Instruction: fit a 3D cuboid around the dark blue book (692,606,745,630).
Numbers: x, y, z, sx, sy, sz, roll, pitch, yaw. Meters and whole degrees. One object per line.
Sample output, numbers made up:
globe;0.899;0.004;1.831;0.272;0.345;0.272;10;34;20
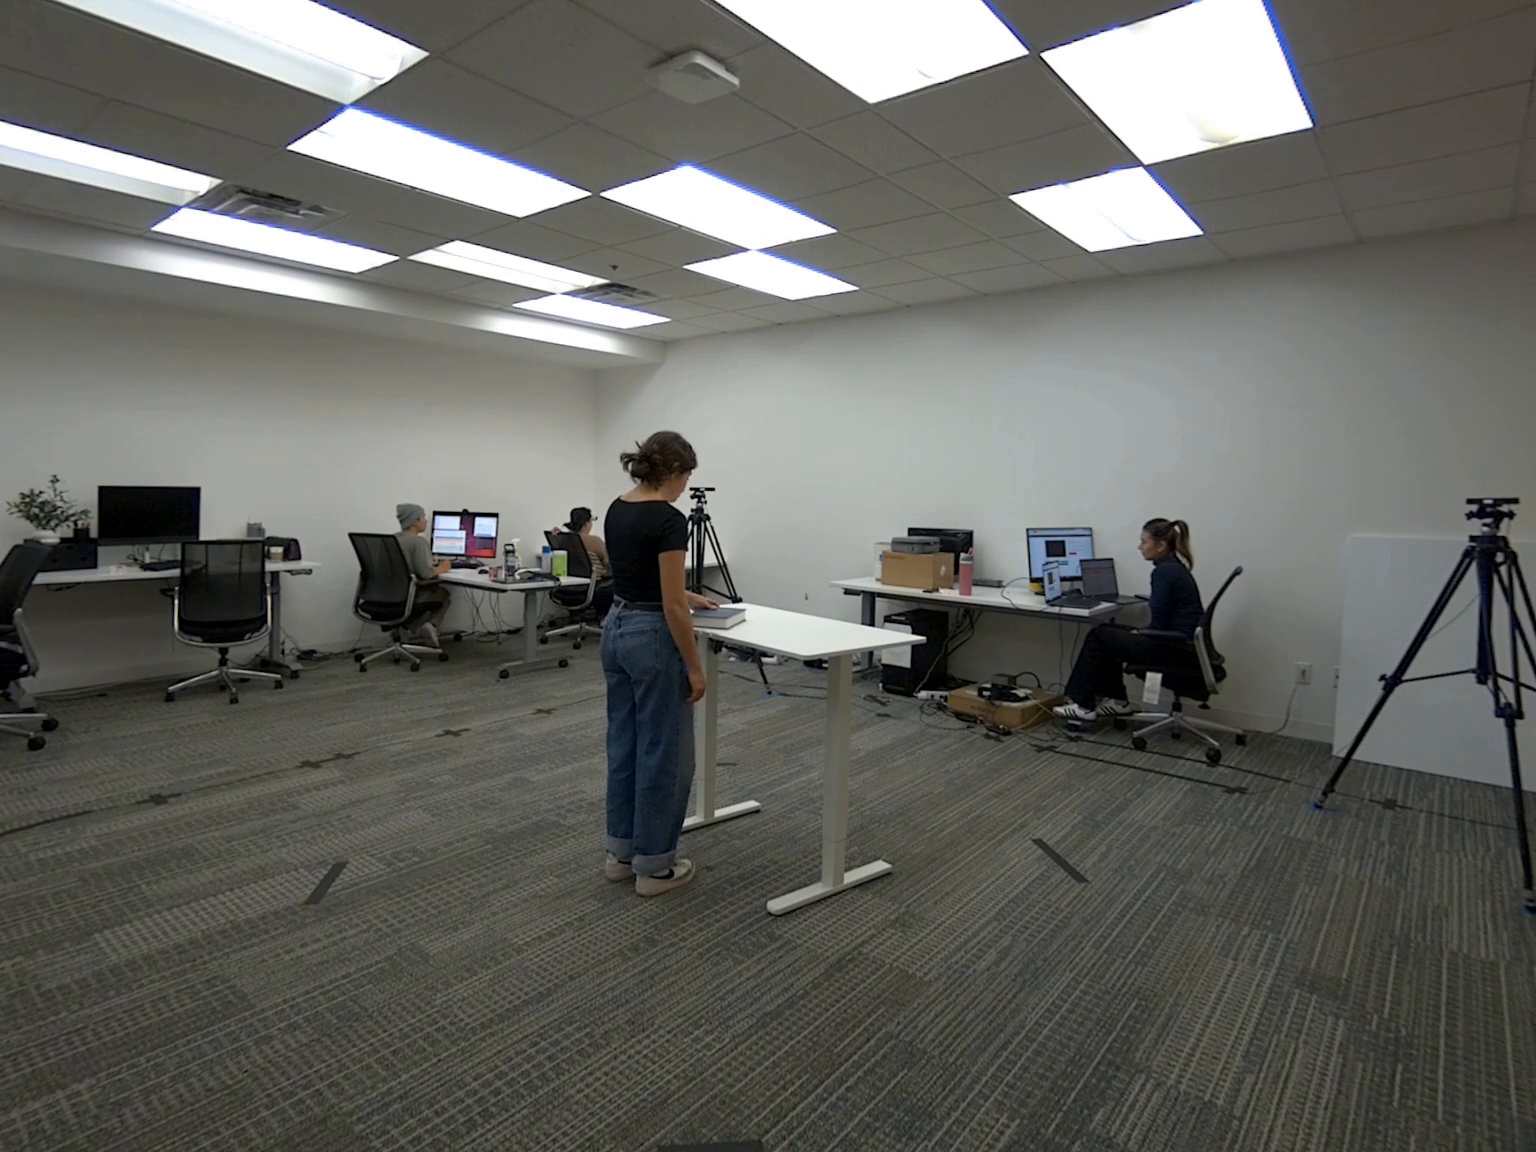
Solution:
dark blue book;-0.197;0.158;3.196;0.166;0.045;0.242;2;5;14
